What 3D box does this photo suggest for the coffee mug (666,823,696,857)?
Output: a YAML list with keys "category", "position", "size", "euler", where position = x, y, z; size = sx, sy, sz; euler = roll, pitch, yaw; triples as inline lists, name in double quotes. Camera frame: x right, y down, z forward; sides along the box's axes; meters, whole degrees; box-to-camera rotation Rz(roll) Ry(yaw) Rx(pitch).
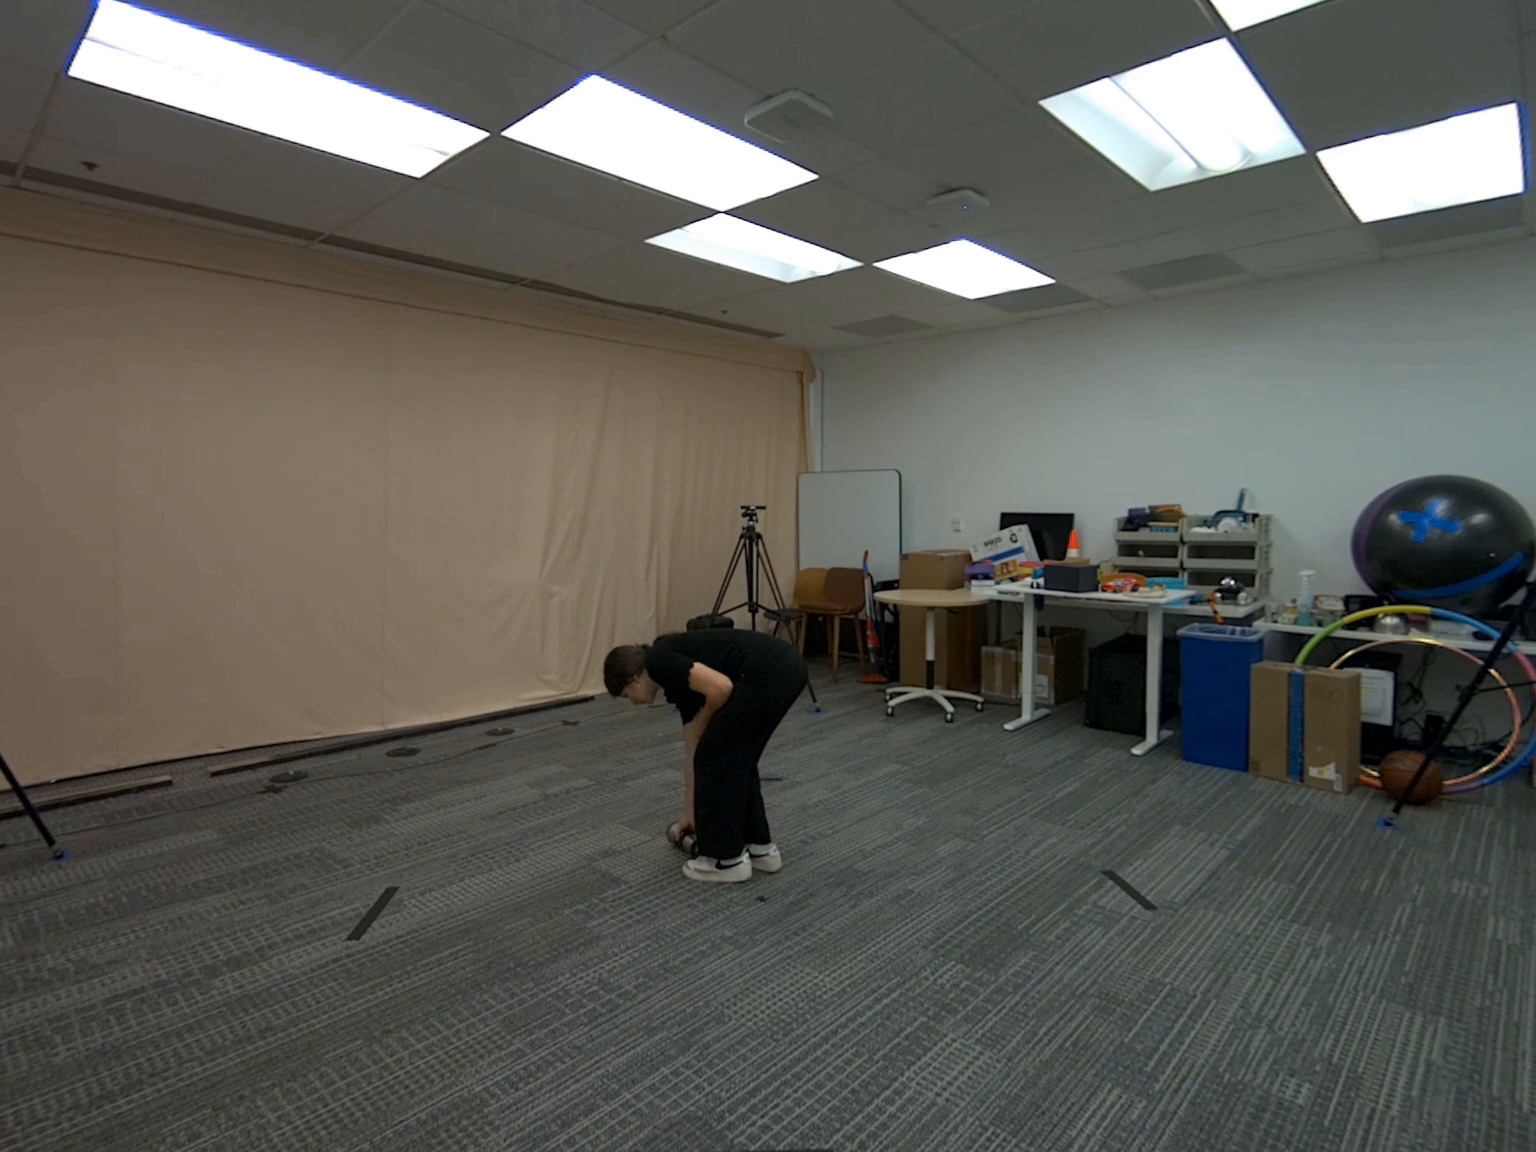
- category: "coffee mug"
  position: [-0.315, 1.045, 3.389]
  size: [0.119, 0.087, 0.209]
  euler: [-21, 14, -34]
